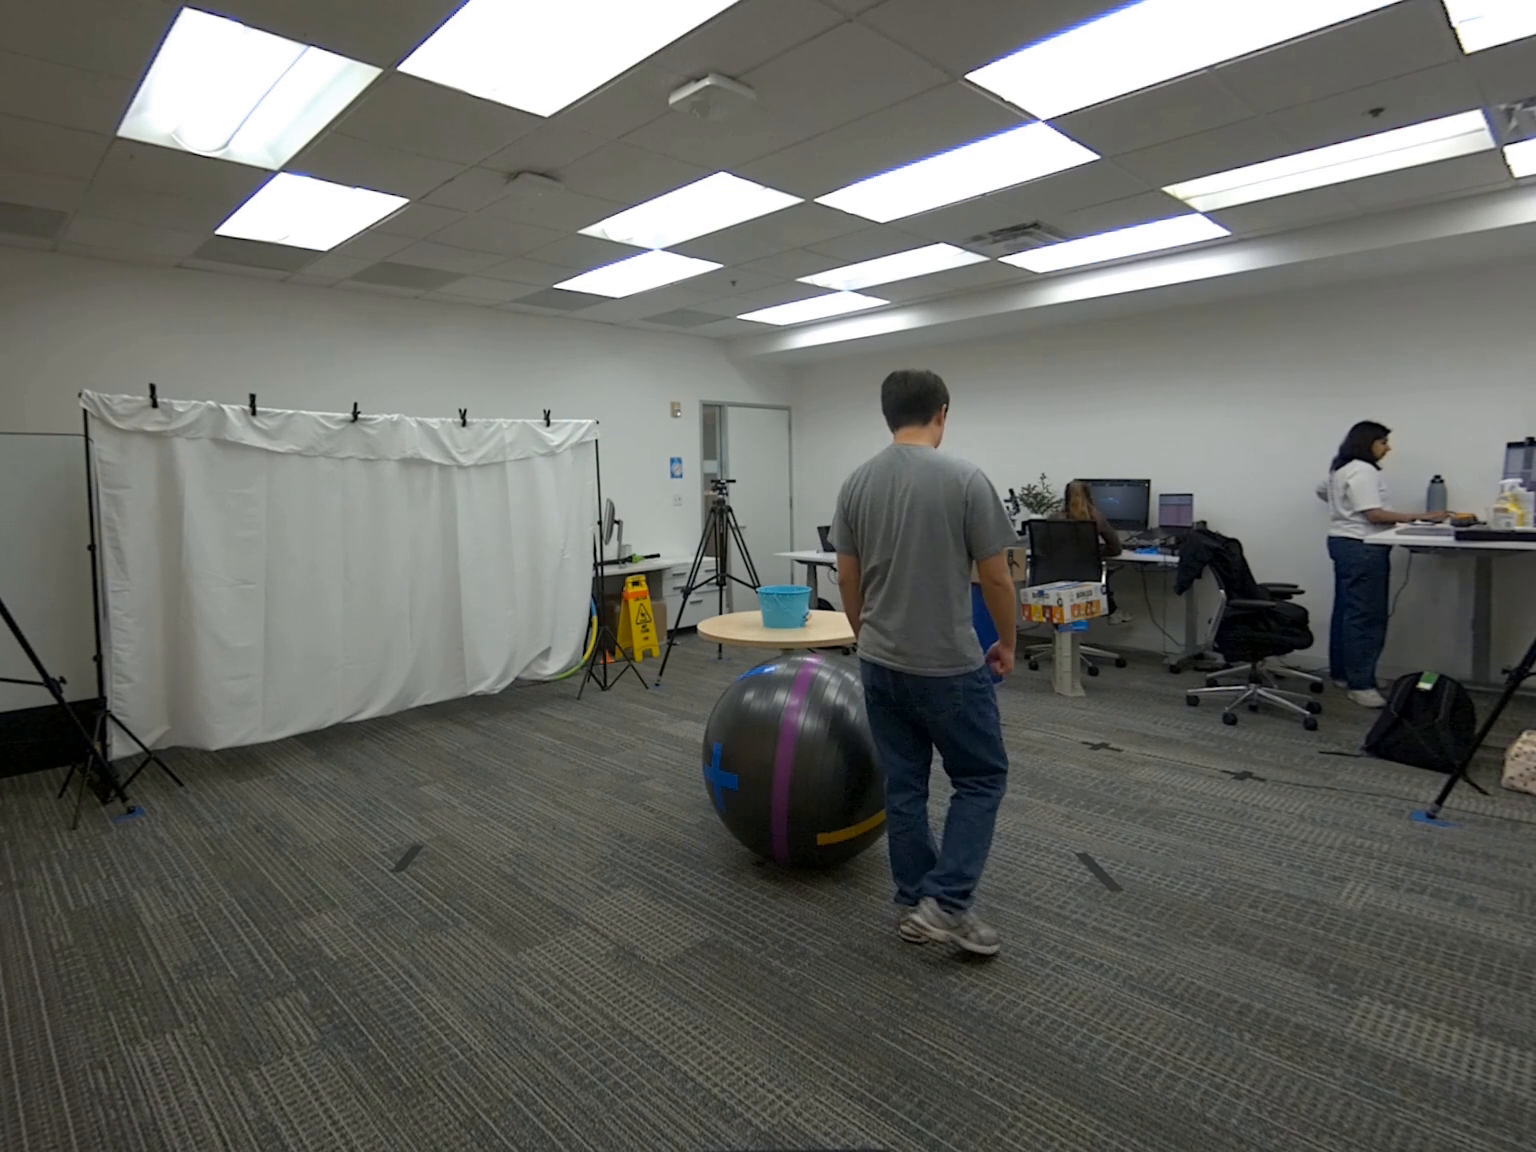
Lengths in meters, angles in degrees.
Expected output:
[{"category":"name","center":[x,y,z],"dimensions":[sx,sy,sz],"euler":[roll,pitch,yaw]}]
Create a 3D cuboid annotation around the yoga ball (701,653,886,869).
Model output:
[{"category":"yoga ball","center":[0.142,0.670,3.134],"dimensions":[0.757,0.755,0.762],"euler":[-1,5,-2]}]
